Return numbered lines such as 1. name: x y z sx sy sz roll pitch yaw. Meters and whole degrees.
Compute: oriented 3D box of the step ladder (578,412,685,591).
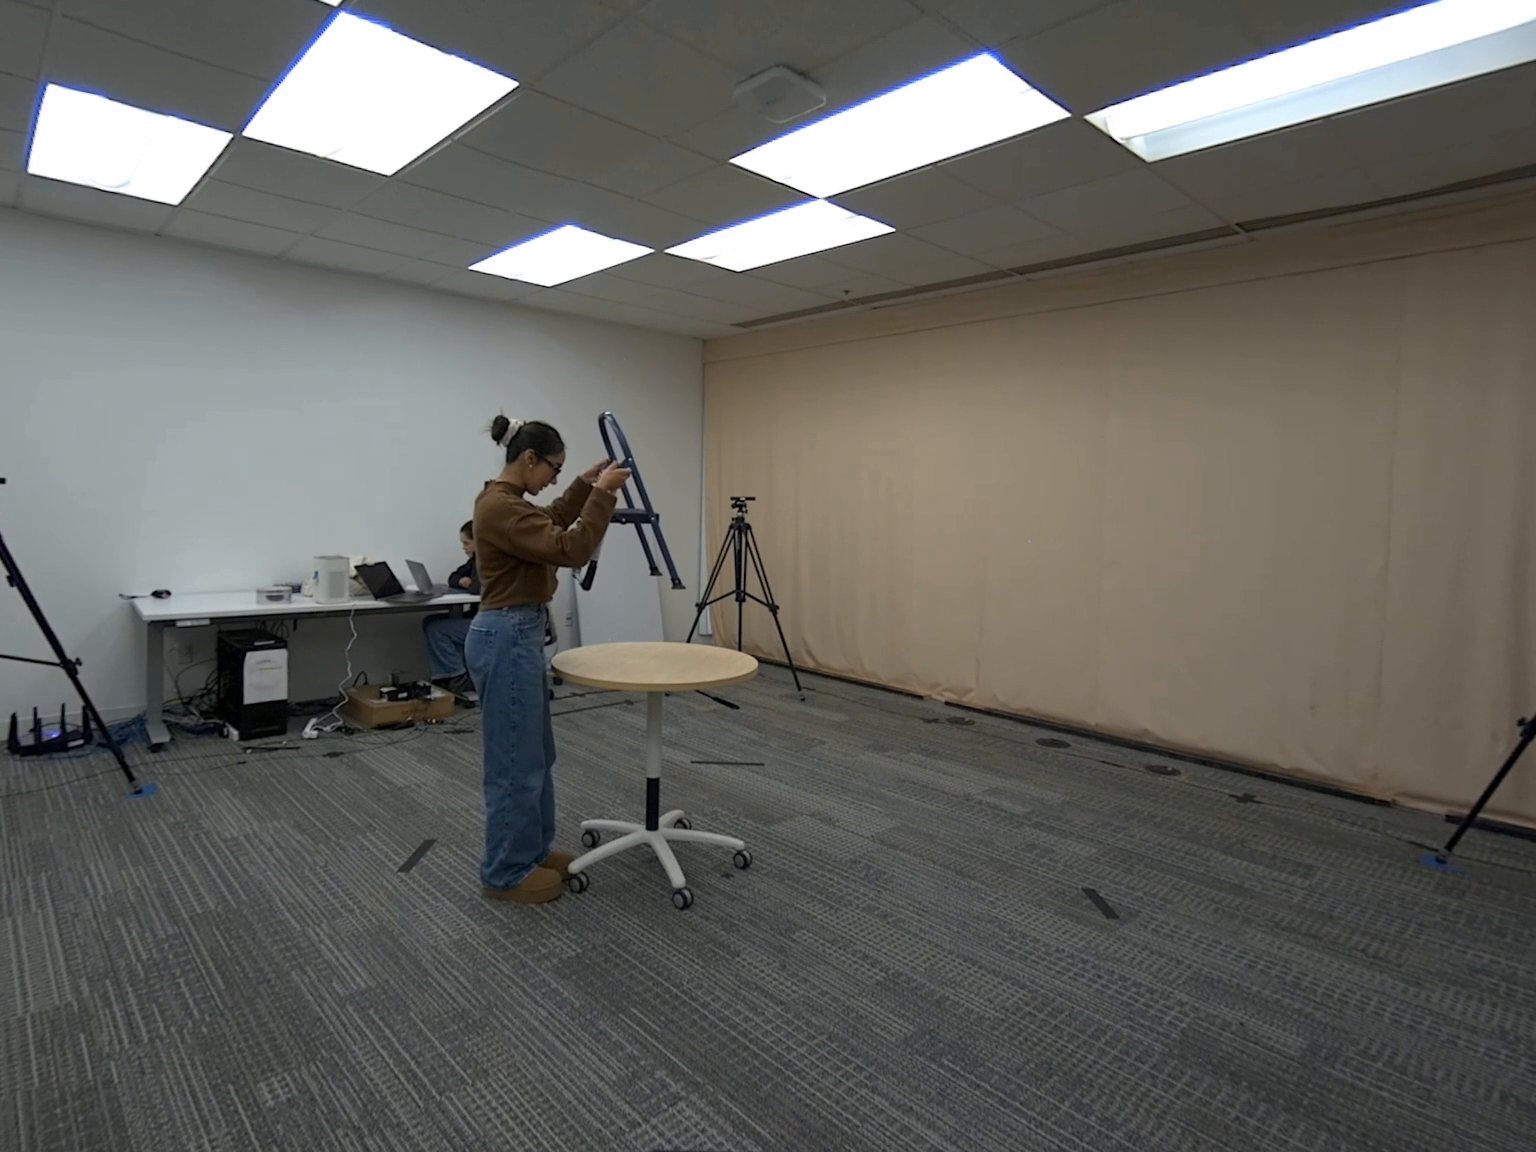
1. step ladder: -0.520 -0.276 3.020 0.345 0.604 0.438 -1 5 -17
